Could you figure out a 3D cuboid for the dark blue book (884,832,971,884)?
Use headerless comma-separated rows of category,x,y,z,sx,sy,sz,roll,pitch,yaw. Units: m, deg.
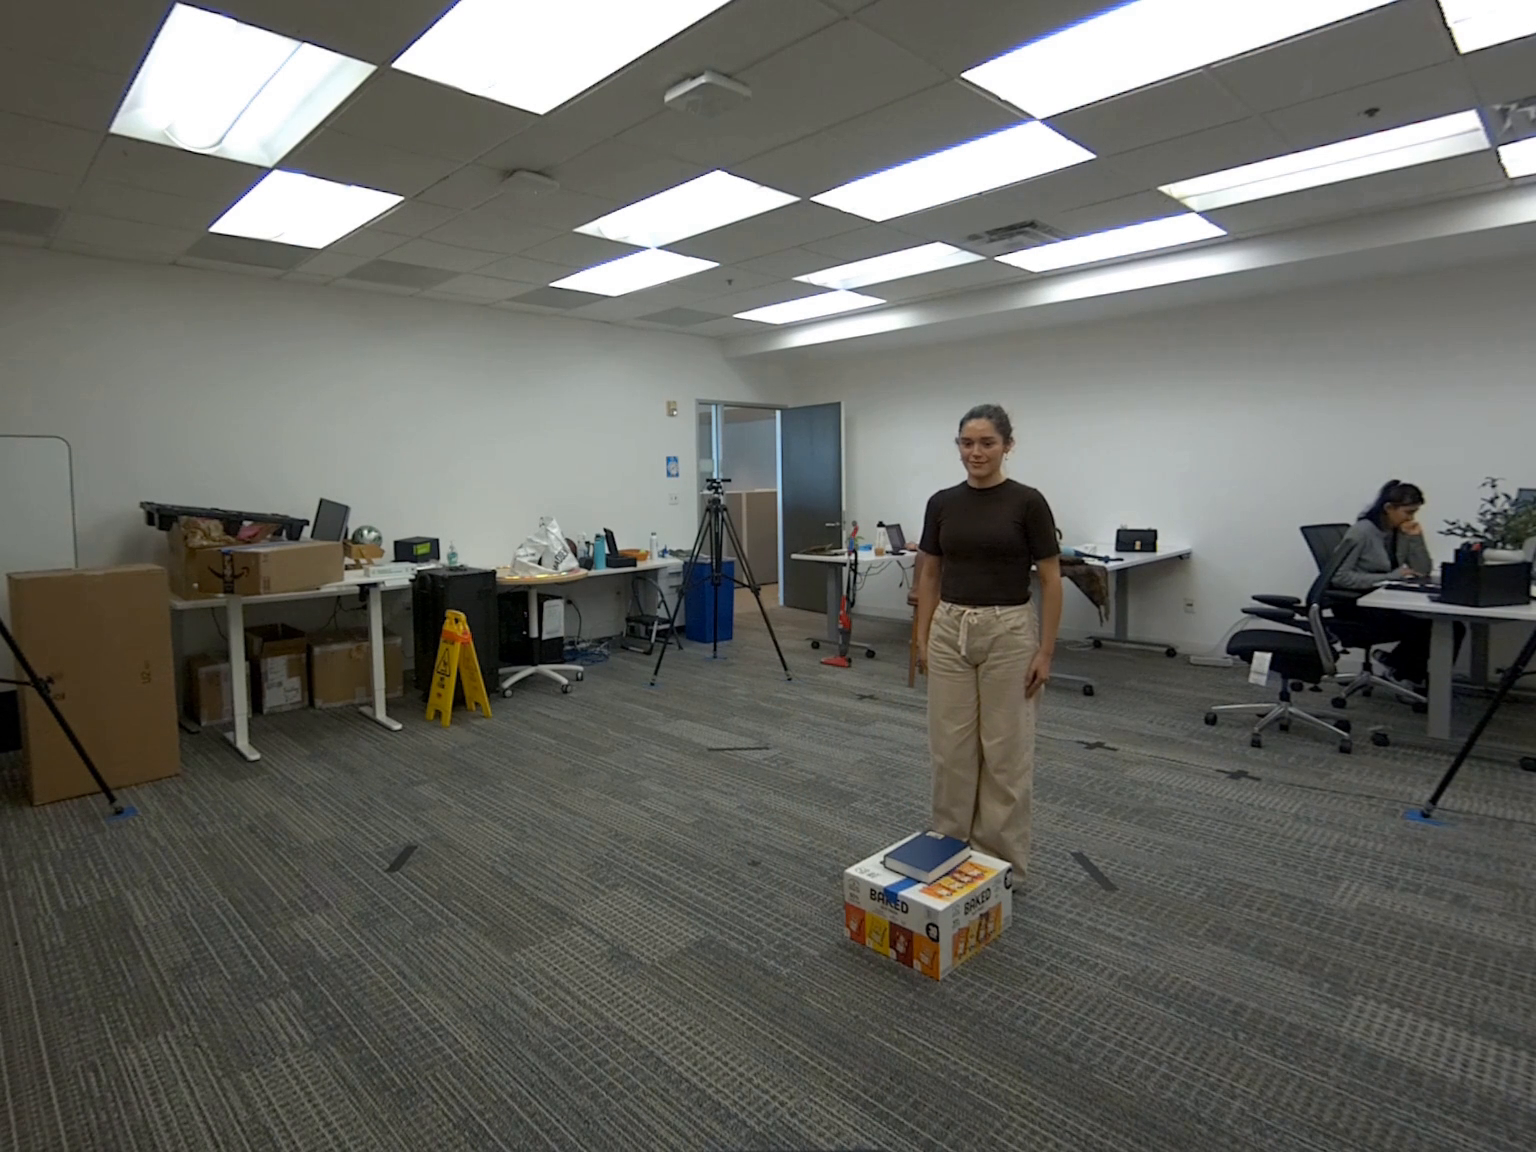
dark blue book,0.503,0.867,2.657,0.168,0.045,0.239,6,11,44
